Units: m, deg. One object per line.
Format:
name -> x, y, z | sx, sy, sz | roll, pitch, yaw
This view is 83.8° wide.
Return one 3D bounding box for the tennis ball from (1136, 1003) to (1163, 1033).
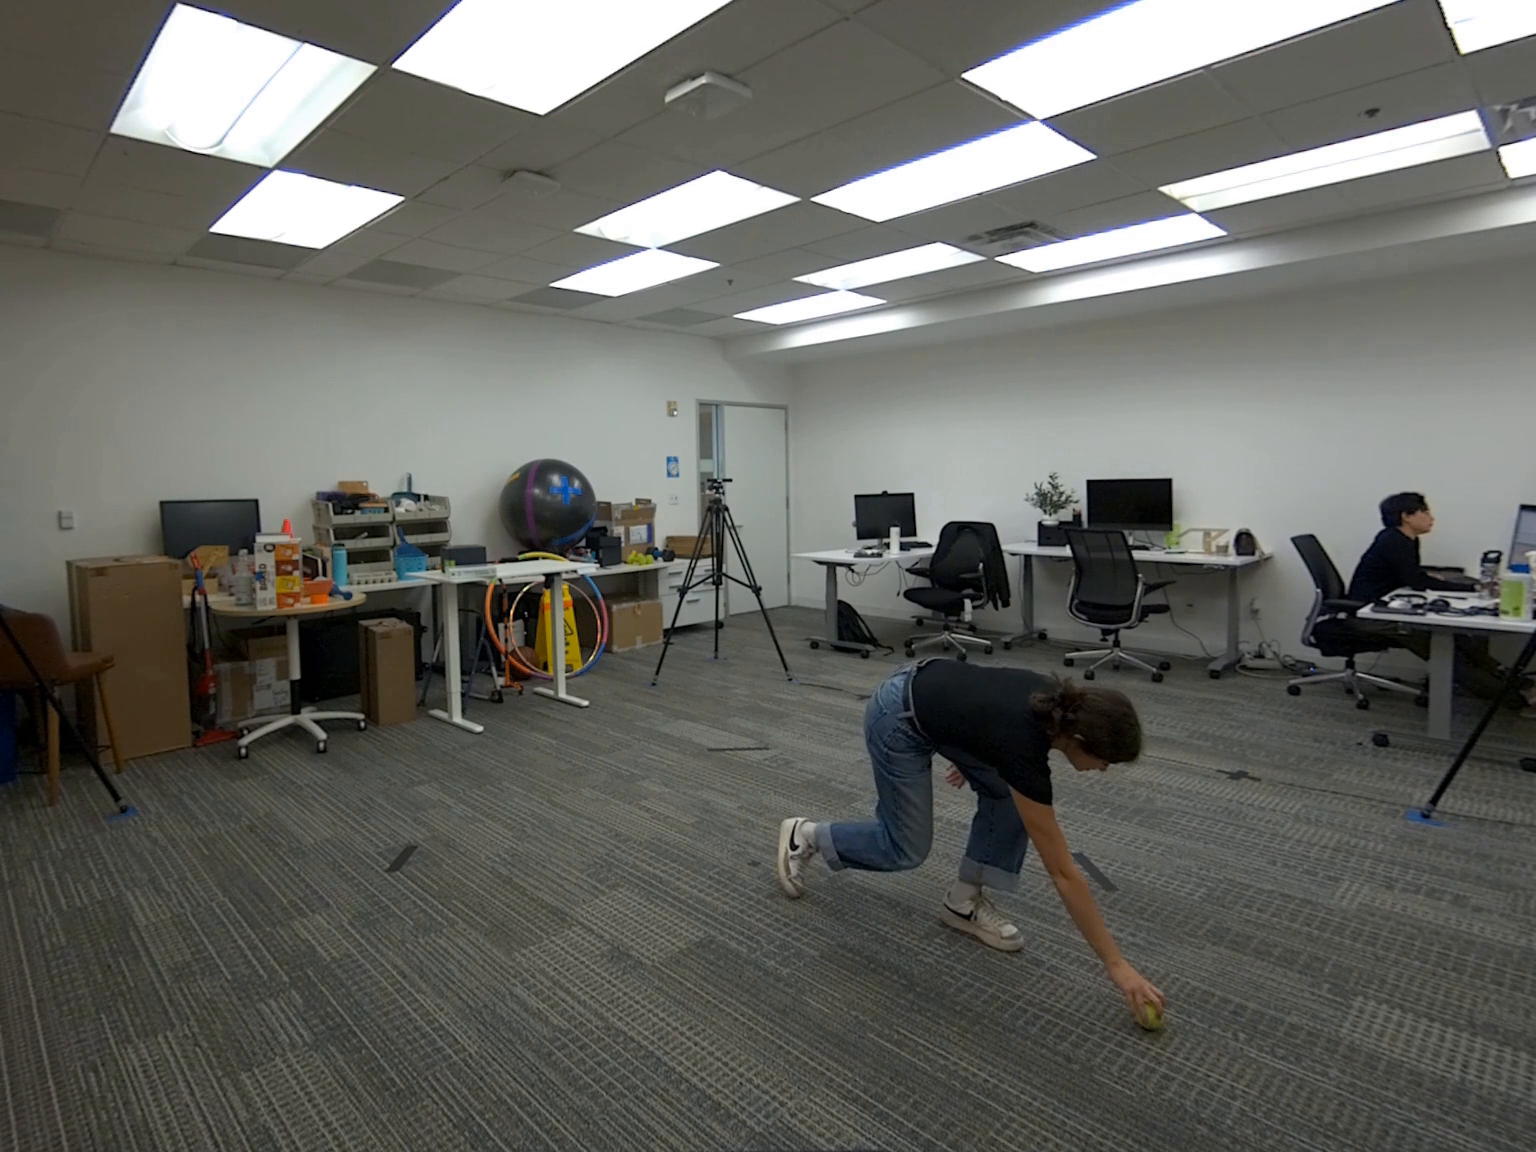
tennis ball -> 0.948, 1.091, 2.158 | 0.066, 0.066, 0.067 | -1, 5, -2
